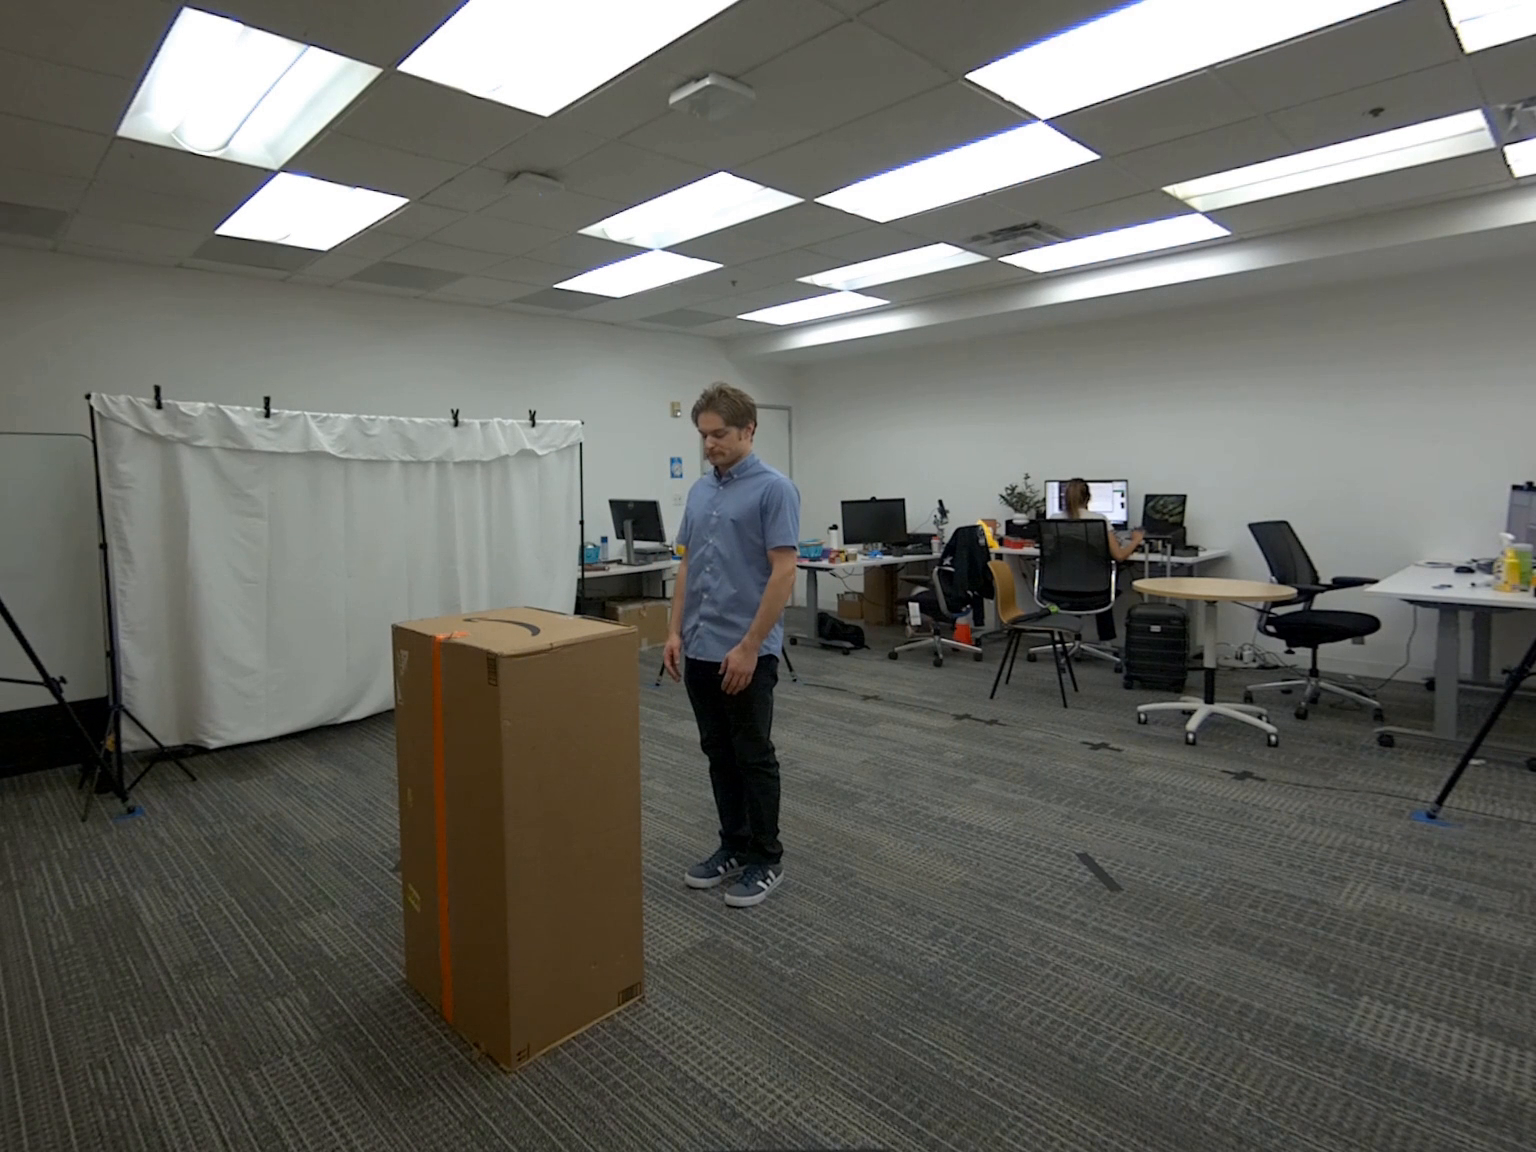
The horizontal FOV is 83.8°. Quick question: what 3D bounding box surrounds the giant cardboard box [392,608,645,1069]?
[{"bbox_3d":[-0.686,0.641,2.341,0.595,1.022,0.415,3,6,44],"label":"giant cardboard box"}]
